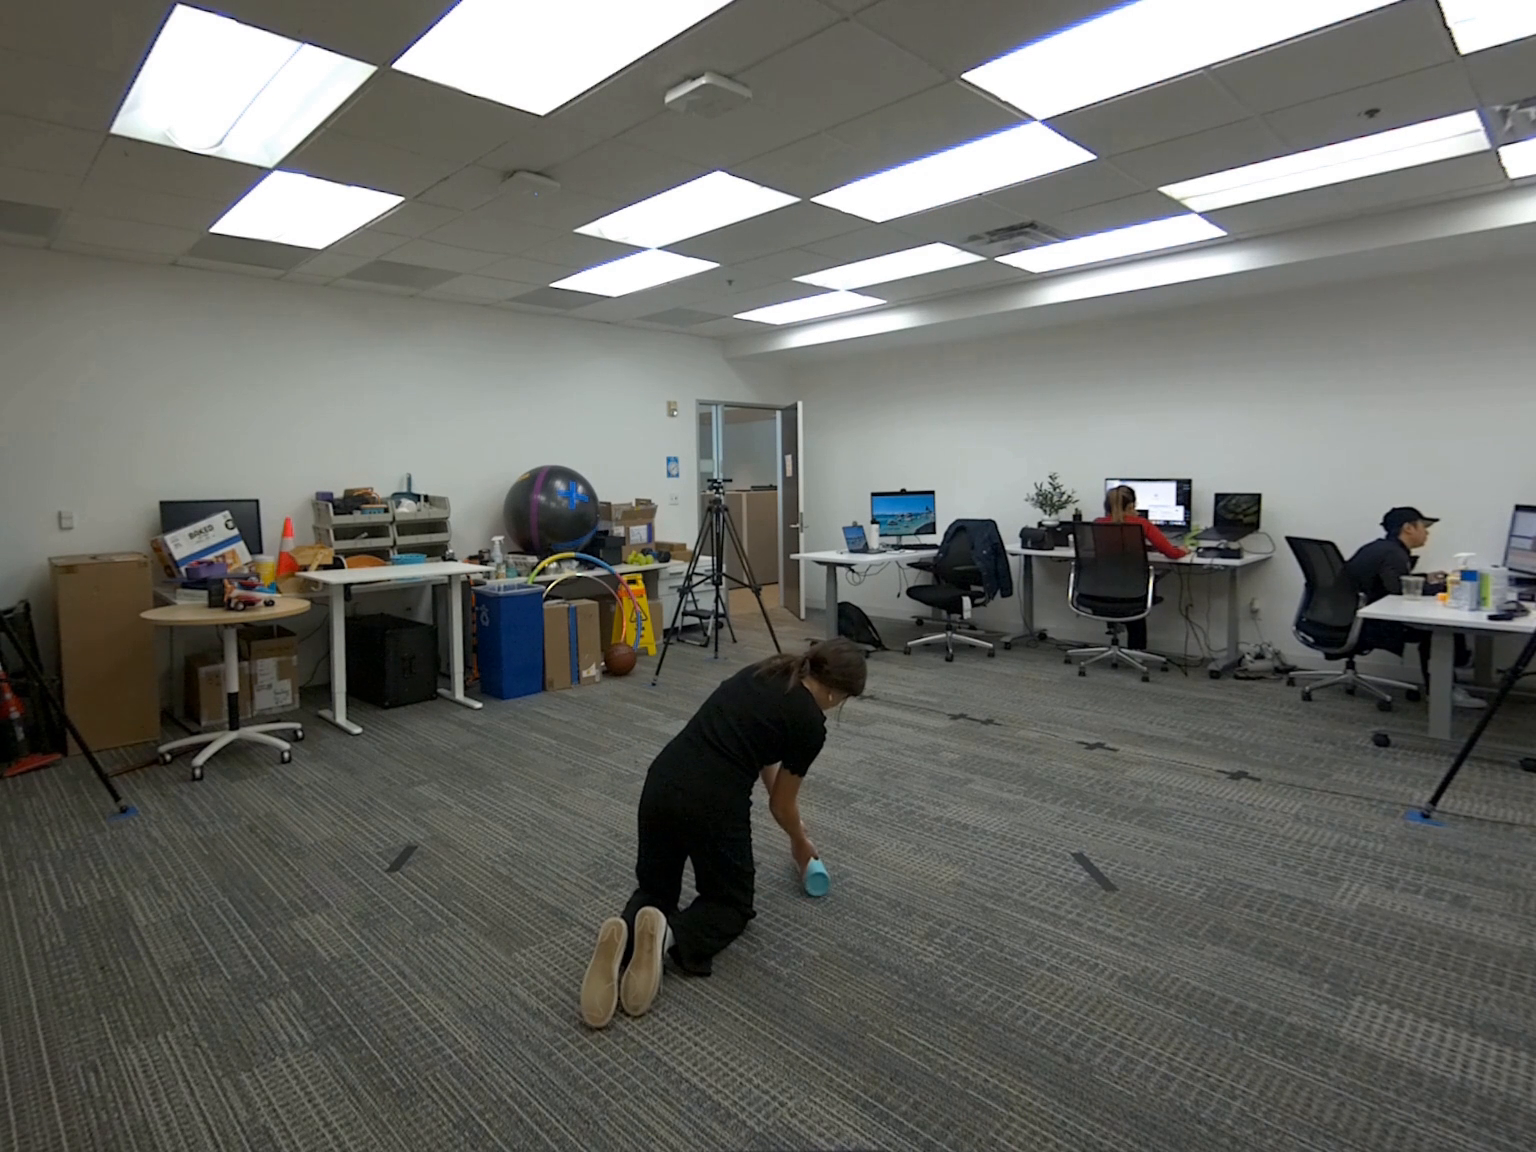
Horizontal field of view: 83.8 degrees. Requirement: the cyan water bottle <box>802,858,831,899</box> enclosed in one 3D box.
[{"bbox_3d":[0.150,1.008,2.983,0.092,0.092,0.287,-2,7,-8],"label":"cyan water bottle"}]
